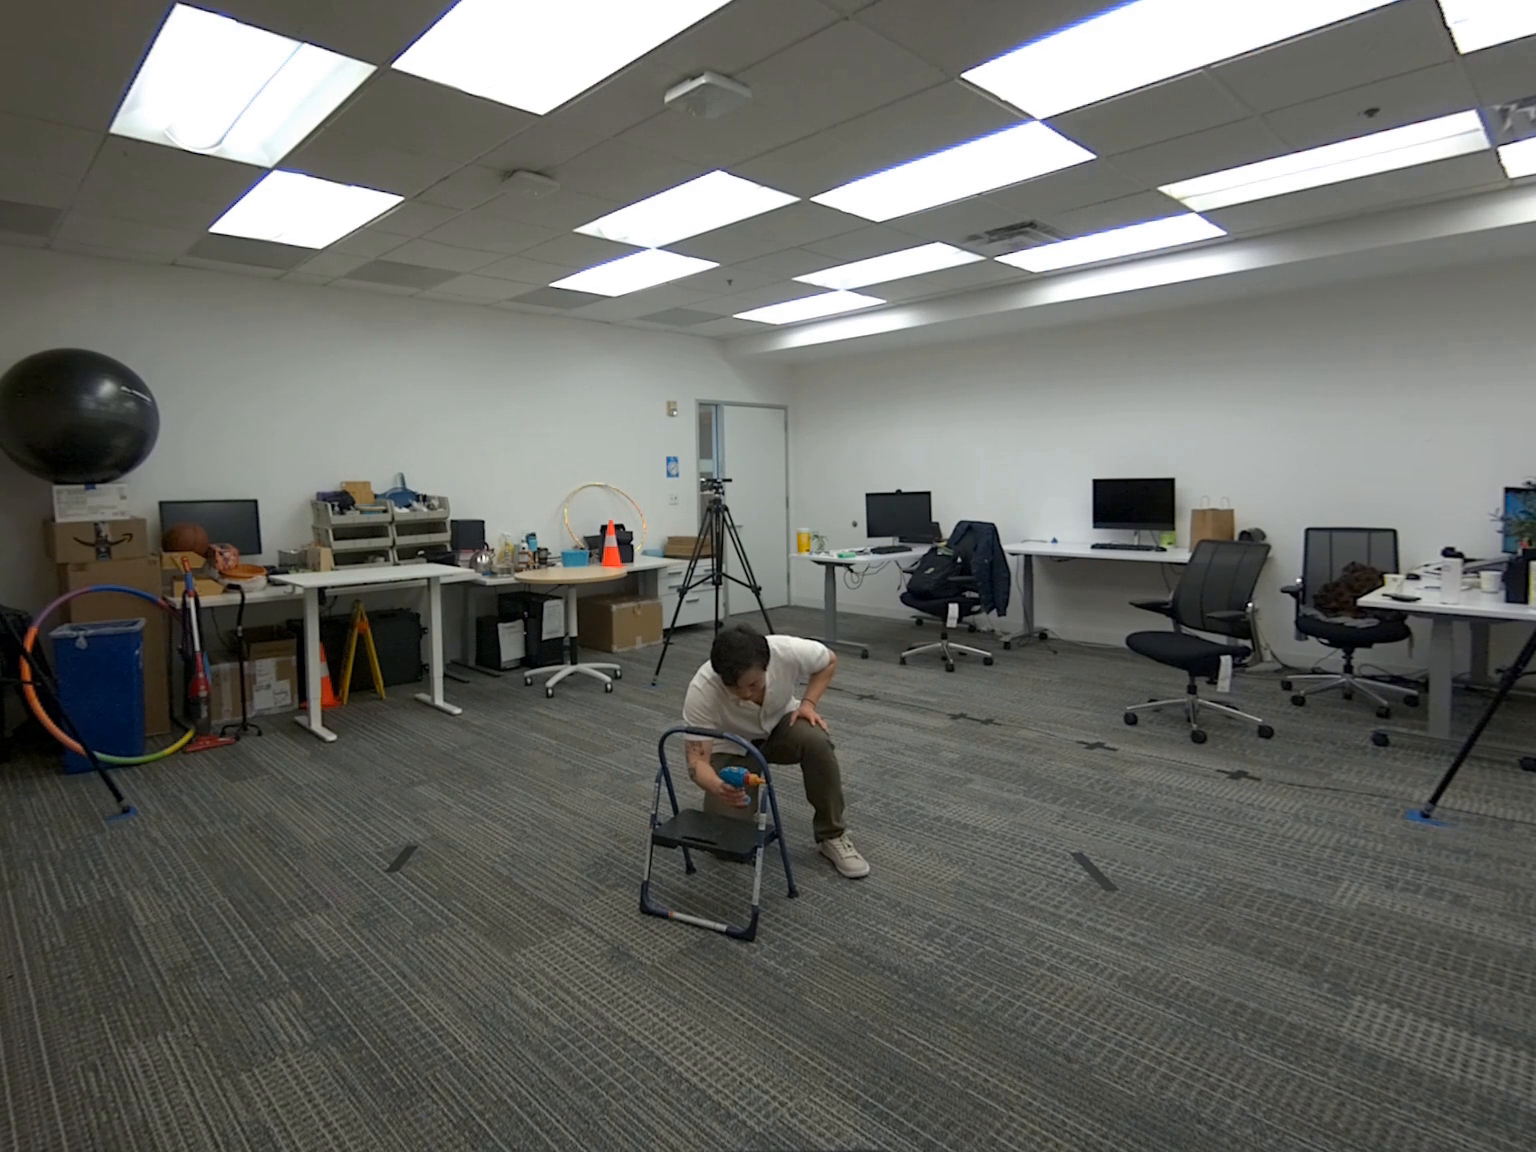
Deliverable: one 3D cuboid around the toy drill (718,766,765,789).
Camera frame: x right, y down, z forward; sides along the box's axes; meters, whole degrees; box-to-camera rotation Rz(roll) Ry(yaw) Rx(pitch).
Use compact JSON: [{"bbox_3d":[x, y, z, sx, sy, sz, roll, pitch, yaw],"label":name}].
[{"bbox_3d":[-0.071,0.688,2.763,0.174,0.142,0.061,1,34,26],"label":"toy drill"}]
